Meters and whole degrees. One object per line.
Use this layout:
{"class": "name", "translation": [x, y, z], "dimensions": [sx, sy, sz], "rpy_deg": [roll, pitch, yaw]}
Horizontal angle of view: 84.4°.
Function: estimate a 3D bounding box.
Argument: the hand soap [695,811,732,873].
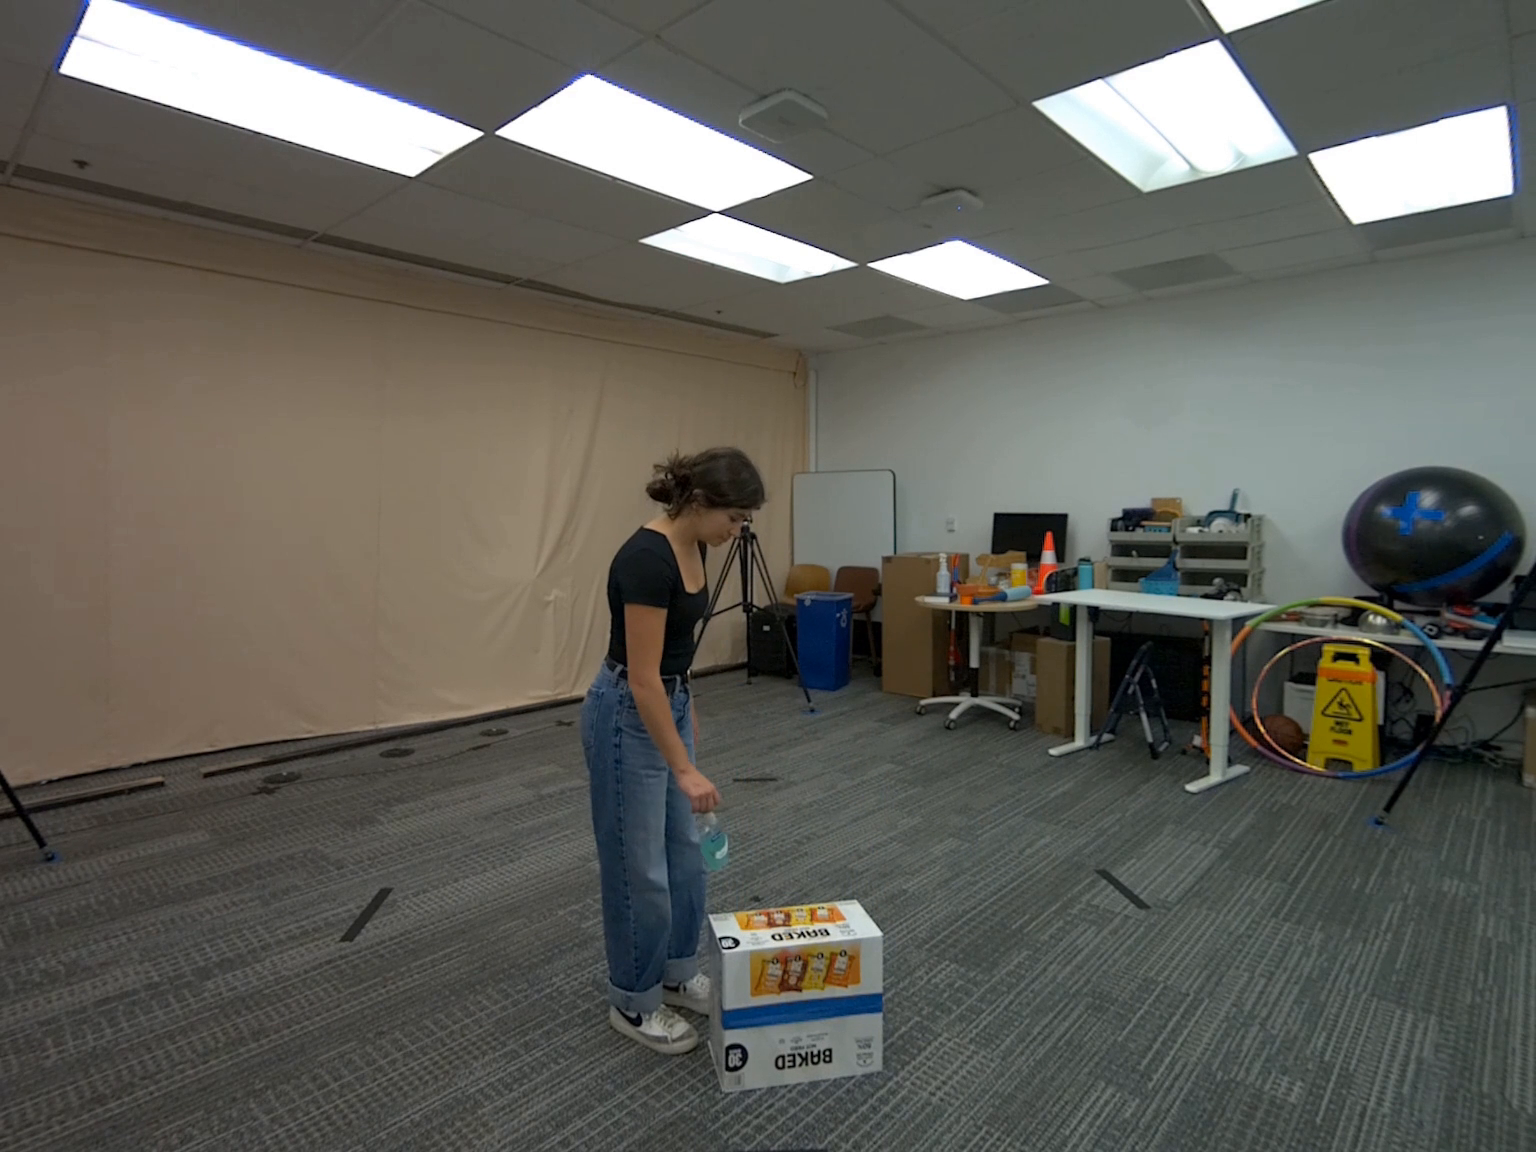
{"class": "hand soap", "translation": [-0.126, 0.622, 2.038], "dimensions": [0.044, 0.167, 0.083], "rpy_deg": [-8, 12, 45]}
